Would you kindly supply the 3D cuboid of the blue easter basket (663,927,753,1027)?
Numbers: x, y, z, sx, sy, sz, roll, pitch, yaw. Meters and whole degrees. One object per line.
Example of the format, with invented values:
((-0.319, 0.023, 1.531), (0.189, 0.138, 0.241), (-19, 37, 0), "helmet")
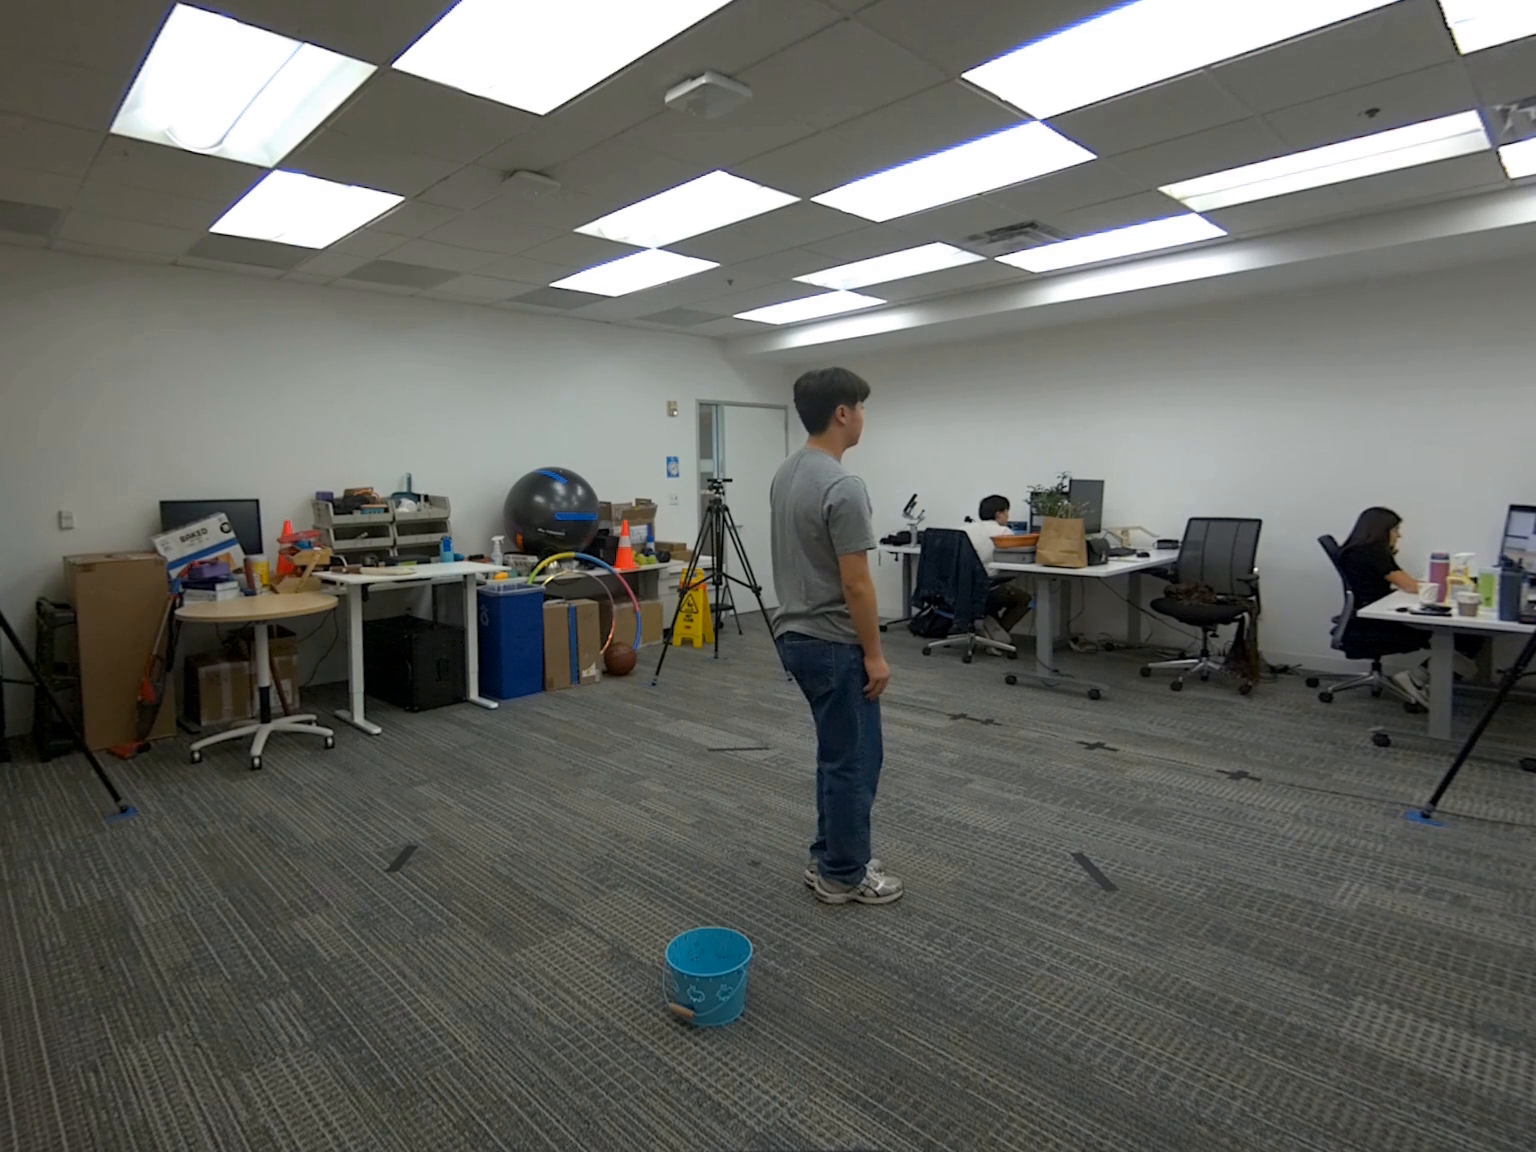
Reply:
((-0.157, 1.068, 2.276), (0.243, 0.155, 0.245), (-2, 6, -2), "blue easter basket")
